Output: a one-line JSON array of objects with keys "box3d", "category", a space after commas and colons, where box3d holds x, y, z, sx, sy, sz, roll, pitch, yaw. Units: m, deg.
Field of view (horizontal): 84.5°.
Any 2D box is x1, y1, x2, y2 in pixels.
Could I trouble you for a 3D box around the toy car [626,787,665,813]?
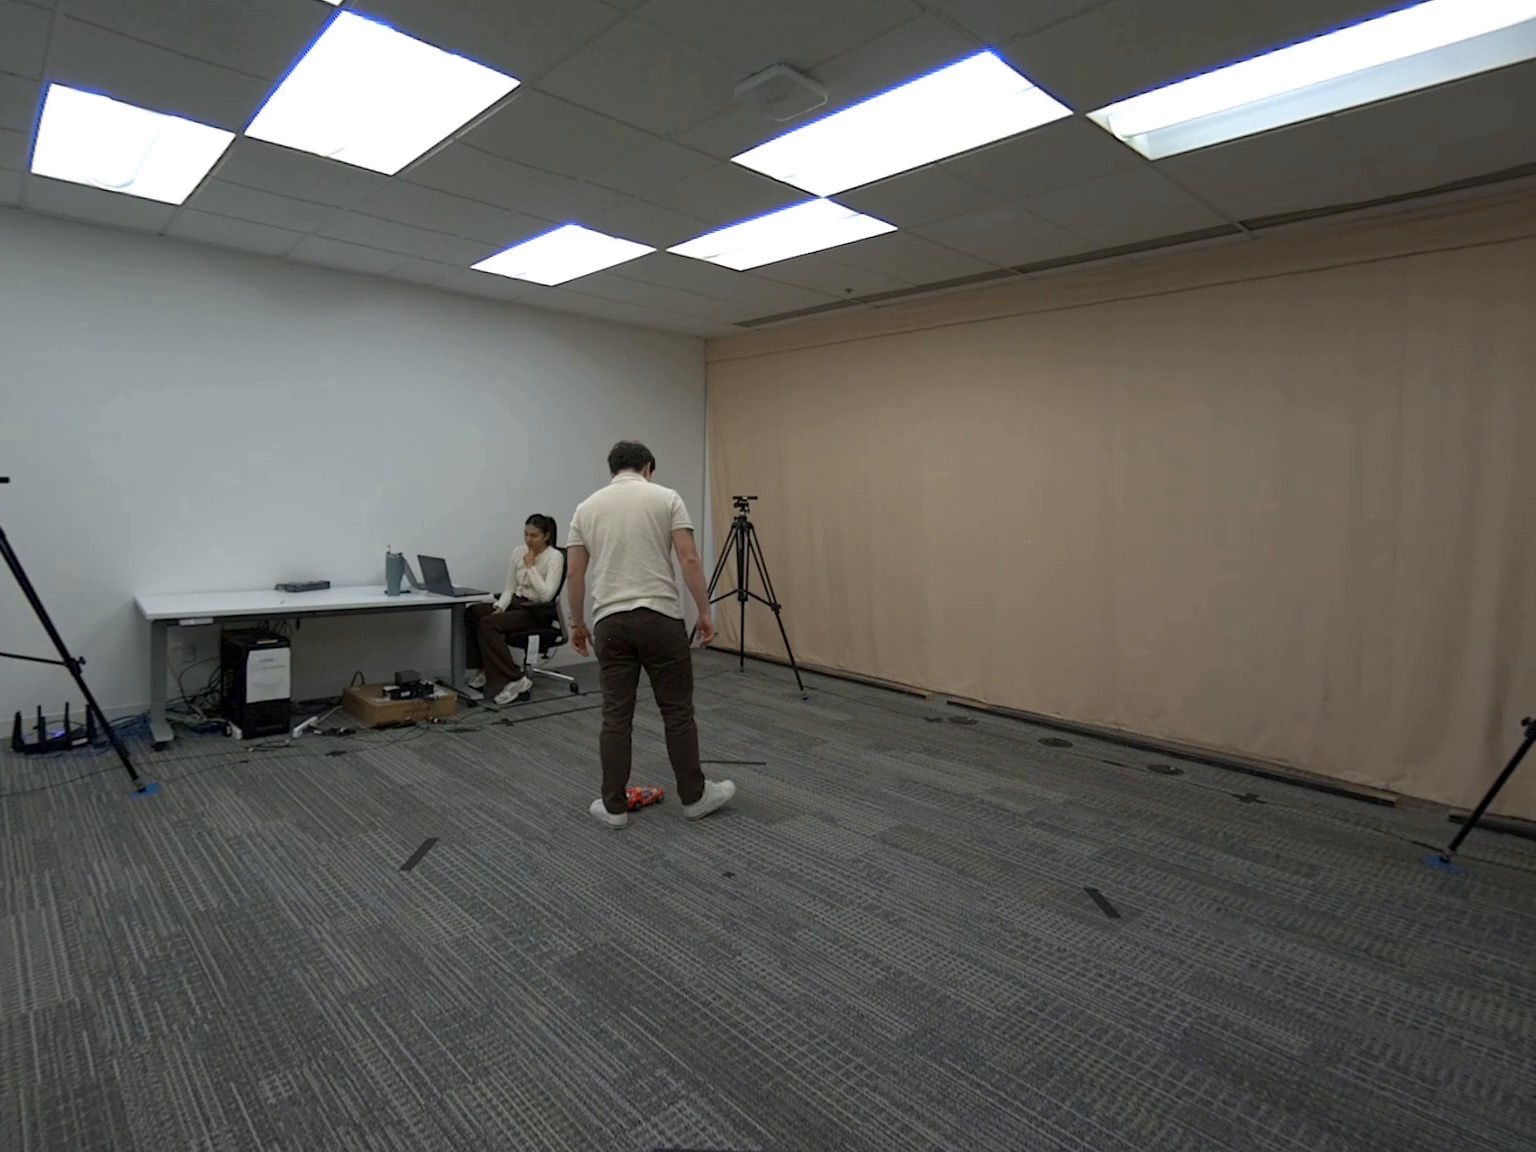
[{"box3d": [-0.599, 1.000, 3.796, 0.133, 0.083, 0.247, 6, -3, 41], "category": "toy car"}]
